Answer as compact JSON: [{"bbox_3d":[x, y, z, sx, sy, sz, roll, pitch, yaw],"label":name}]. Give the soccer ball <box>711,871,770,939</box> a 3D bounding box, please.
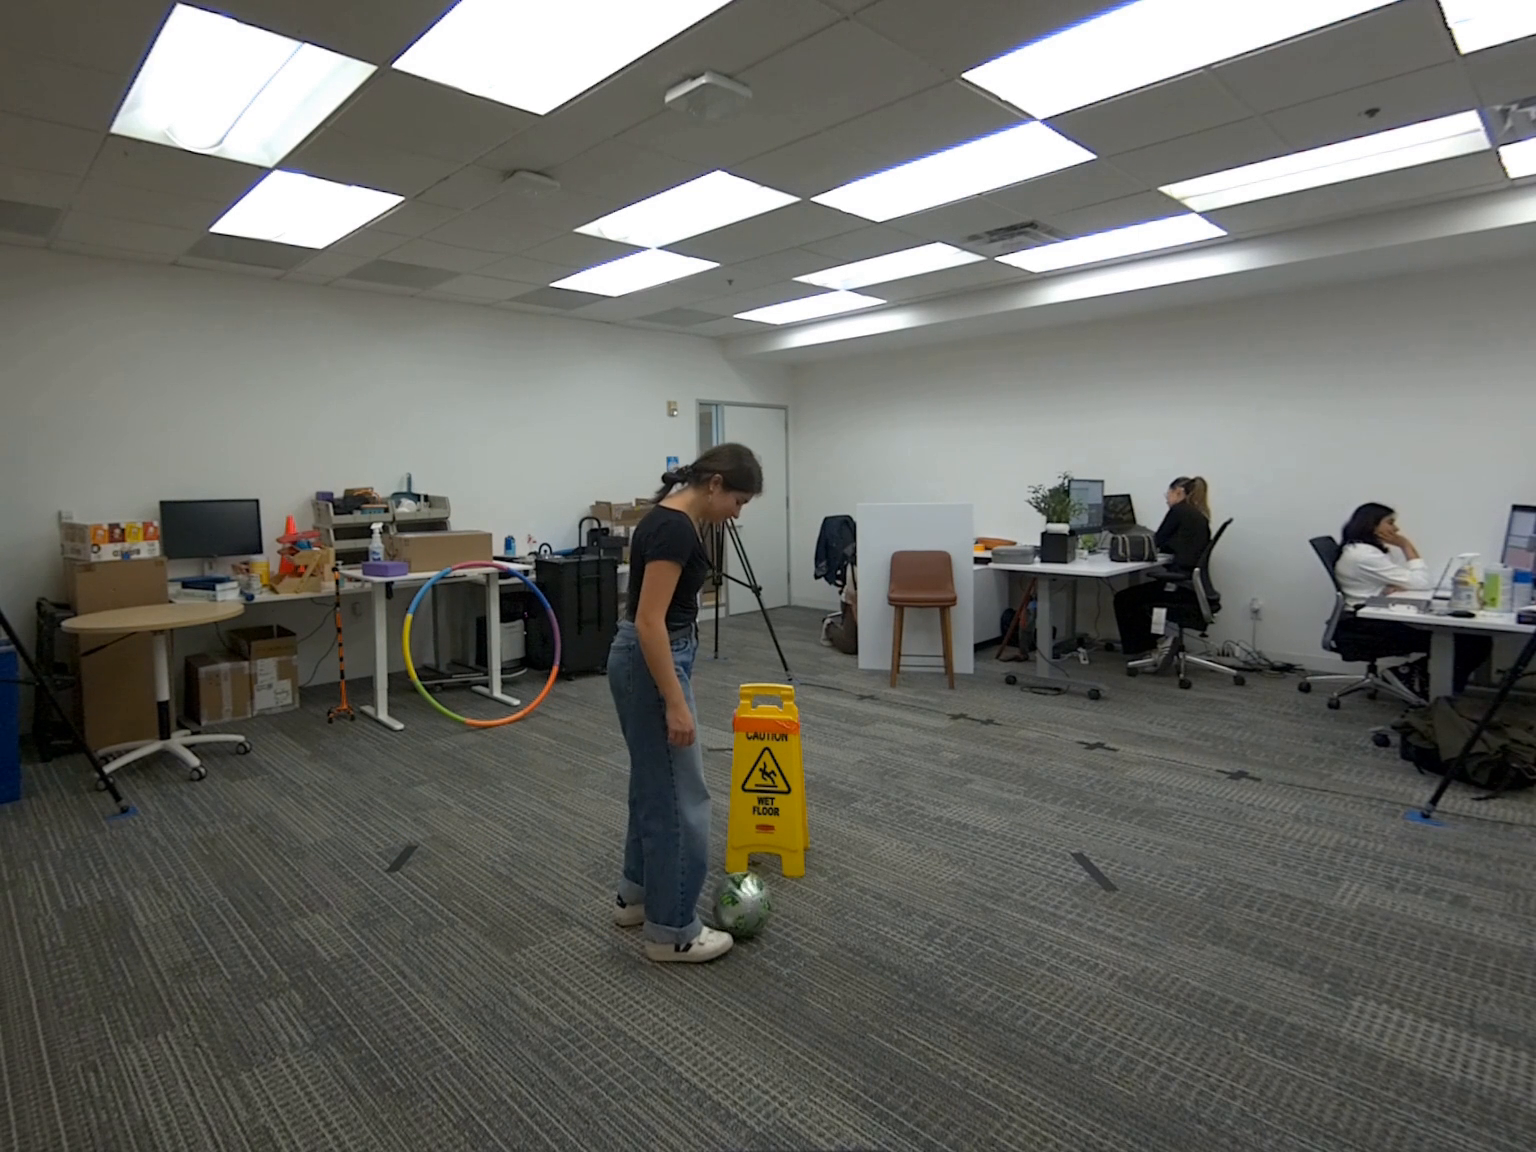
[{"bbox_3d":[-0.086,1.008,2.624,0.187,0.187,0.188,-1,5,-2],"label":"soccer ball"}]
